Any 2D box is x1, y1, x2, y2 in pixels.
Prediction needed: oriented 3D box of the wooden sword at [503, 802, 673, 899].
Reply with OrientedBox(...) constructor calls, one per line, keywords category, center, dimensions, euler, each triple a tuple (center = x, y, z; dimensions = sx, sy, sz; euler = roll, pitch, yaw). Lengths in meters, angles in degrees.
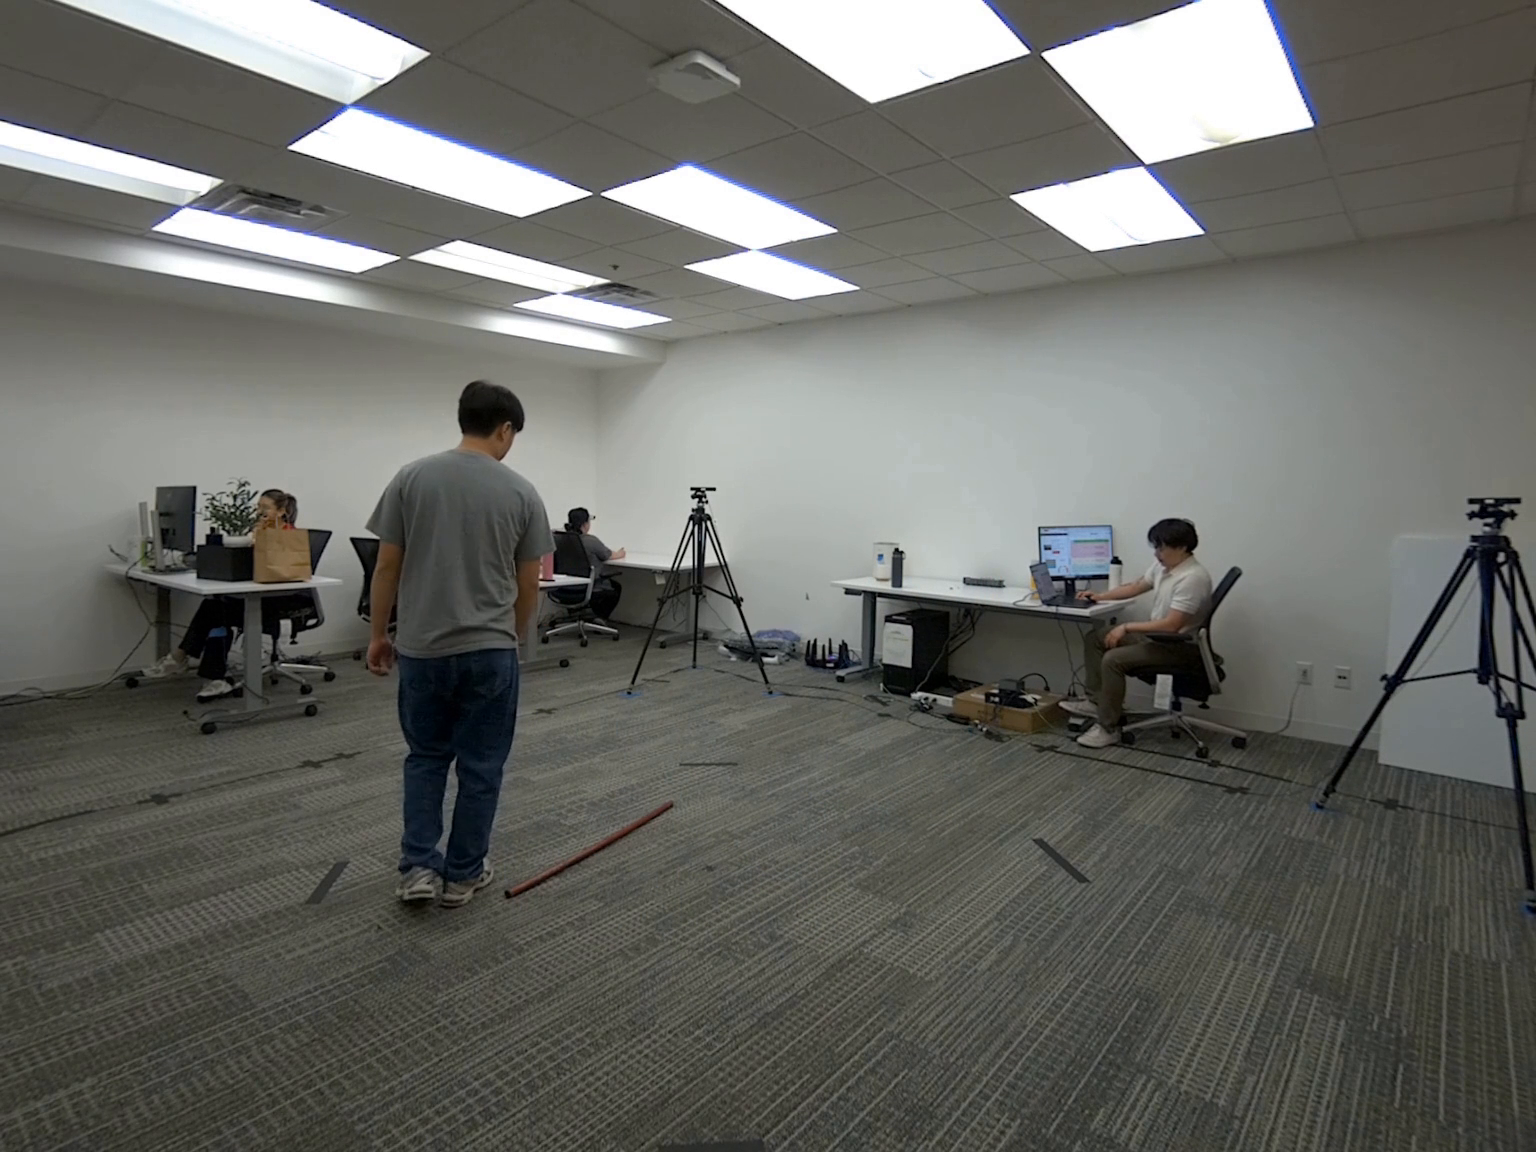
OrientedBox(category="wooden sword", center=(-0.641, 1.018, 3.293), dimensions=(0.053, 0.024, 1.000), euler=(21, 13, 24))
